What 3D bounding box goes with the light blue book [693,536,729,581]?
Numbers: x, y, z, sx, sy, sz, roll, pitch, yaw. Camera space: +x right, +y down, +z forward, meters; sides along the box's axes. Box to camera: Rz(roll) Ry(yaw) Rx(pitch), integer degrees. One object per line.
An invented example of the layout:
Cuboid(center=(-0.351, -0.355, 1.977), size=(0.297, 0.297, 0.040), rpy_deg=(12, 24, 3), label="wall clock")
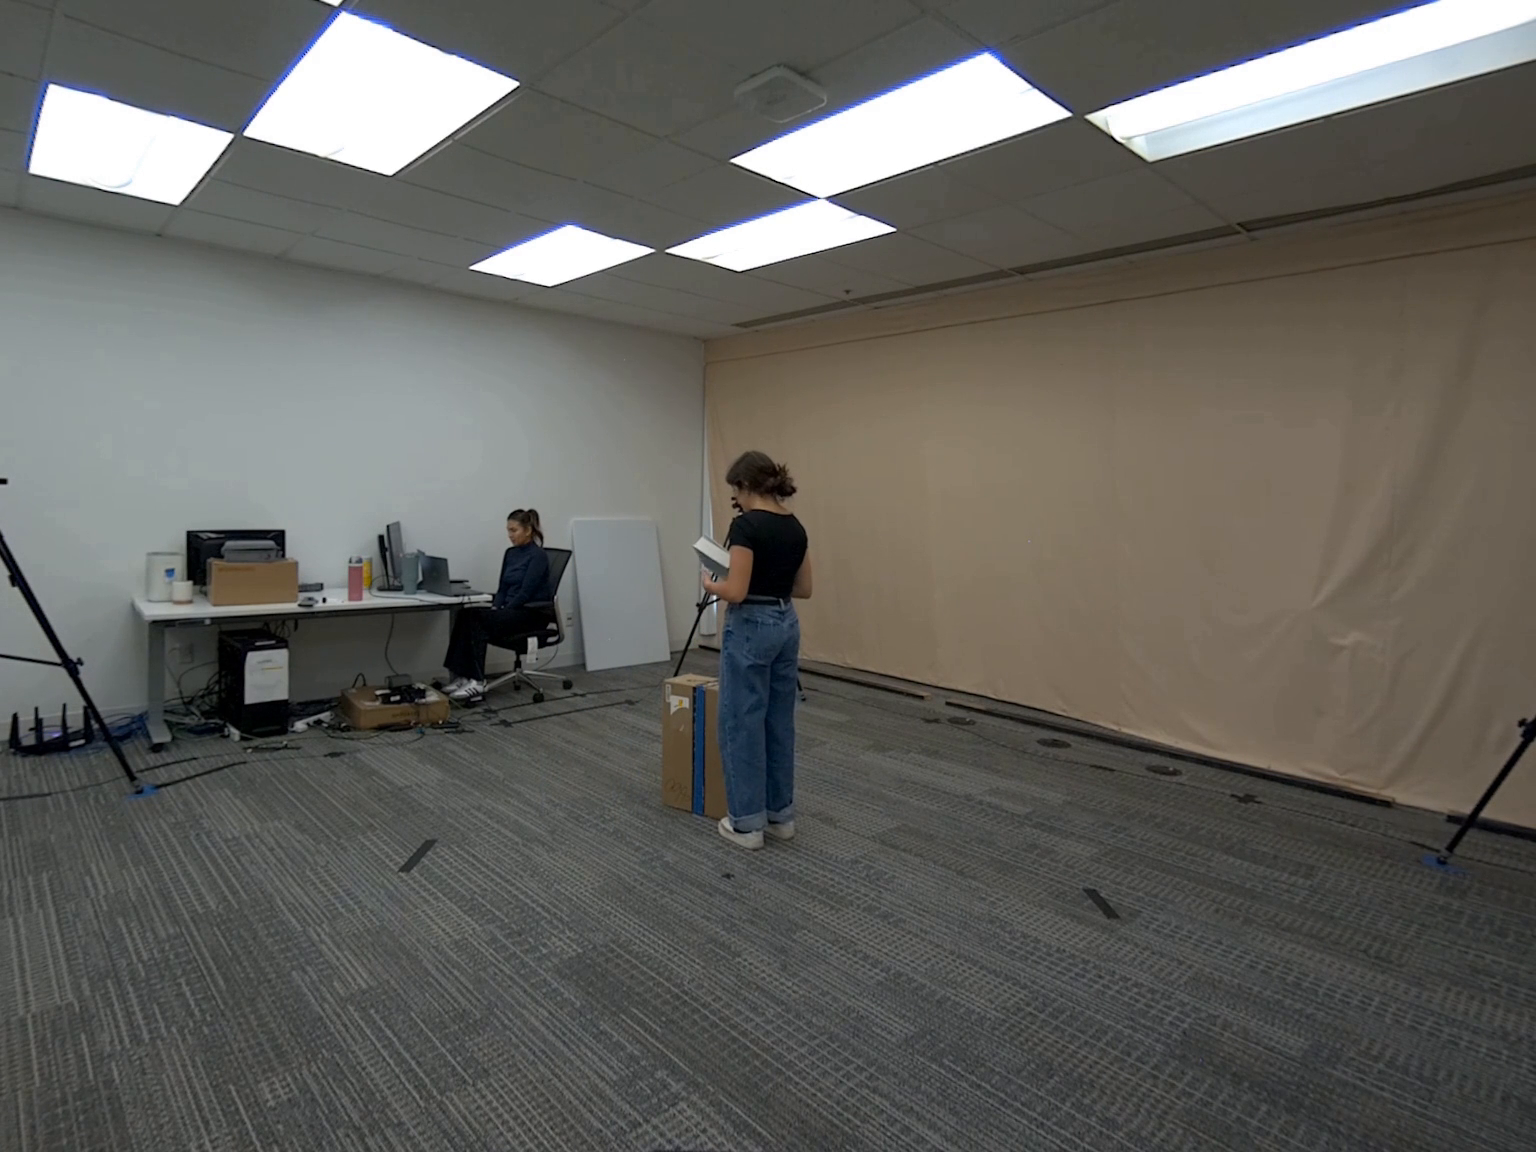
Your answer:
Cuboid(center=(-0.220, -0.058, 3.596), size=(0.195, 0.059, 0.256), rpy_deg=(35, -11, 18), label="light blue book")
